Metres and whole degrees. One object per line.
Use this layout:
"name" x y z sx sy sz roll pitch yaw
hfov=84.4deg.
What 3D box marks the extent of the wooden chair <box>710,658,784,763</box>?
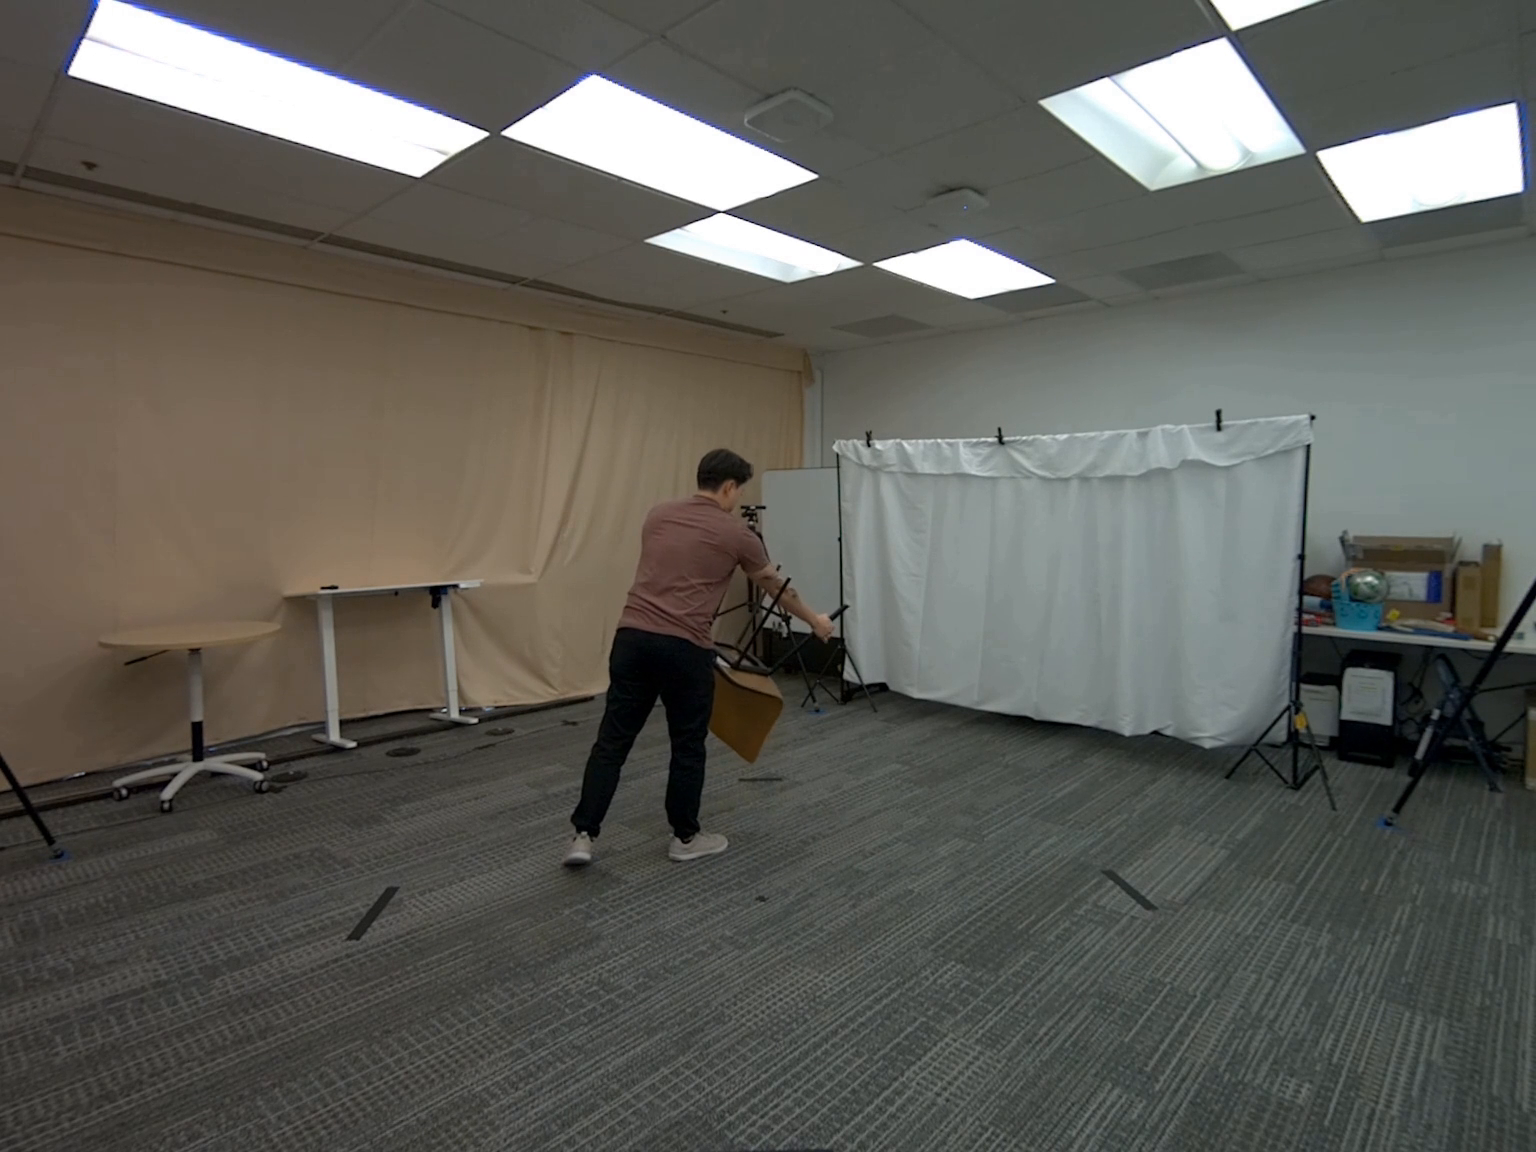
"wooden chair" -0.136 0.352 3.628 0.496 0.877 0.504 32 8 41
